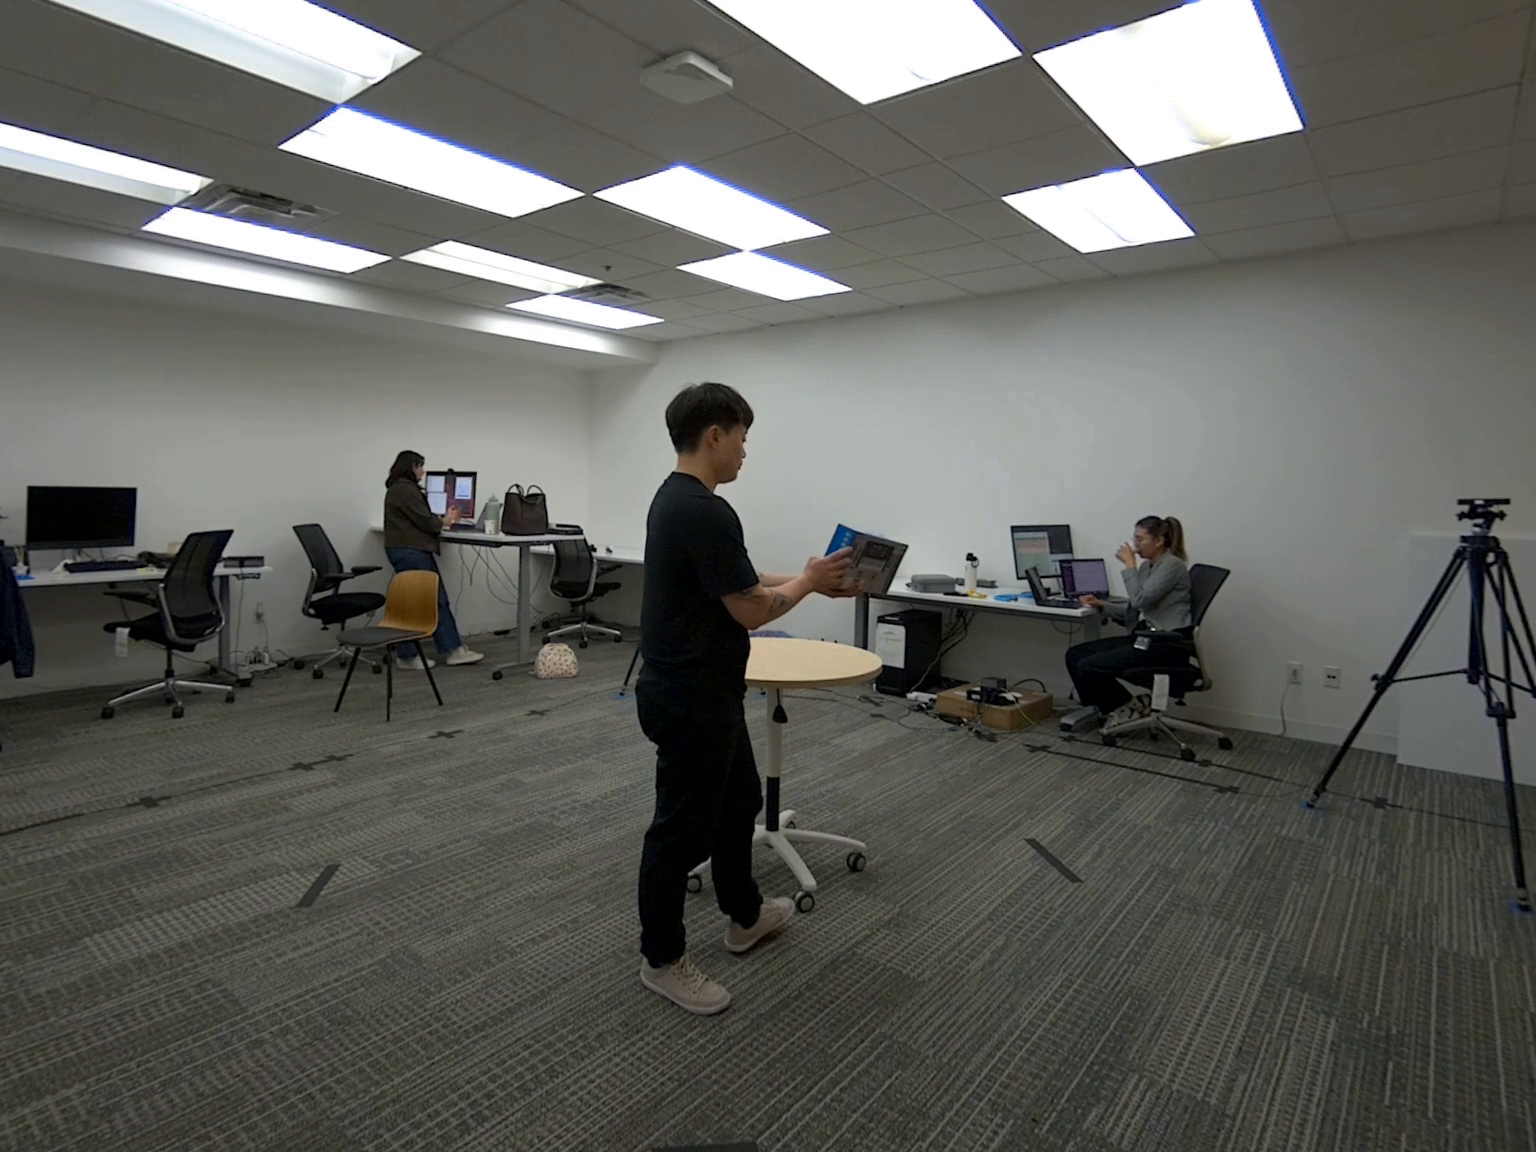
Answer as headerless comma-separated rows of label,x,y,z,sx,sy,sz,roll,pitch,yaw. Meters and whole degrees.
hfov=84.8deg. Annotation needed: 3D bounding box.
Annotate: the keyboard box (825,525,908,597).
keyboard box,0.280,-0.042,2.492,0.061,0.175,0.423,27,9,28
